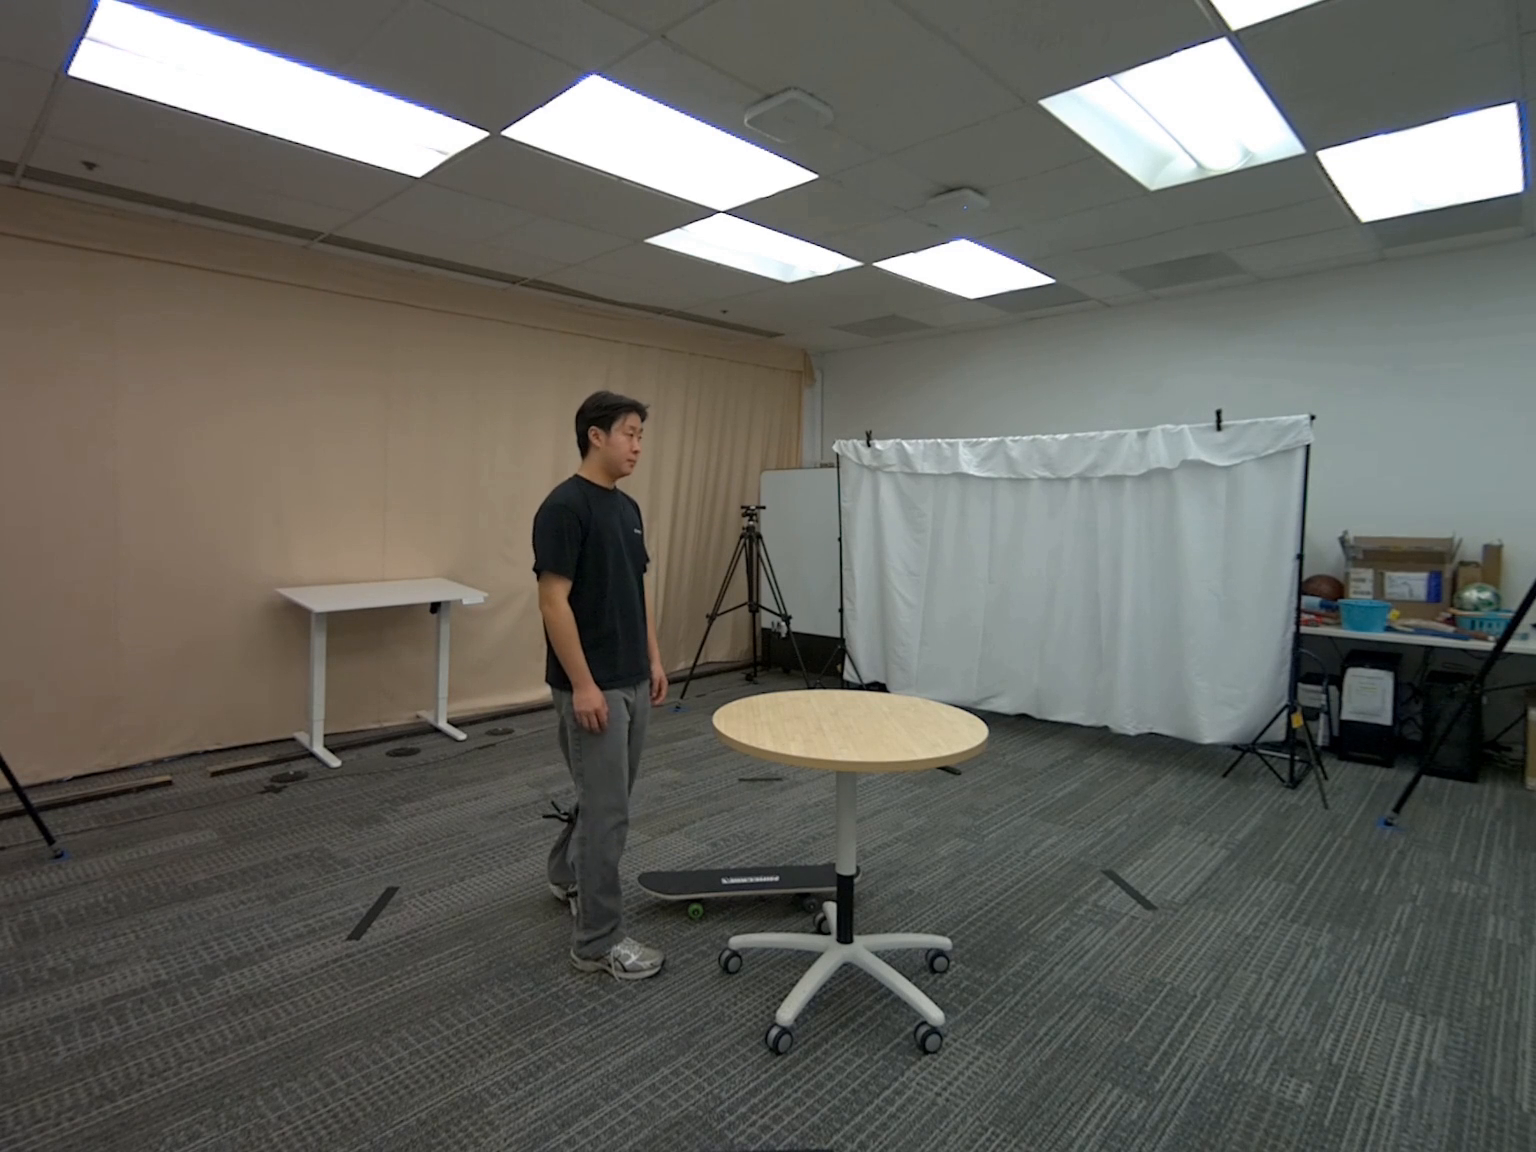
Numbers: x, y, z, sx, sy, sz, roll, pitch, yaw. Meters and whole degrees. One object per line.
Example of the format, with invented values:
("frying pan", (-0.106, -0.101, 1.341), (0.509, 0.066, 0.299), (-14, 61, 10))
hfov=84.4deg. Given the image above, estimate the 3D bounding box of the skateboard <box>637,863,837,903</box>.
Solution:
("skateboard", (-0.057, 1.093, 2.933), (0.779, 0.110, 0.195), (0, 5, -7))
